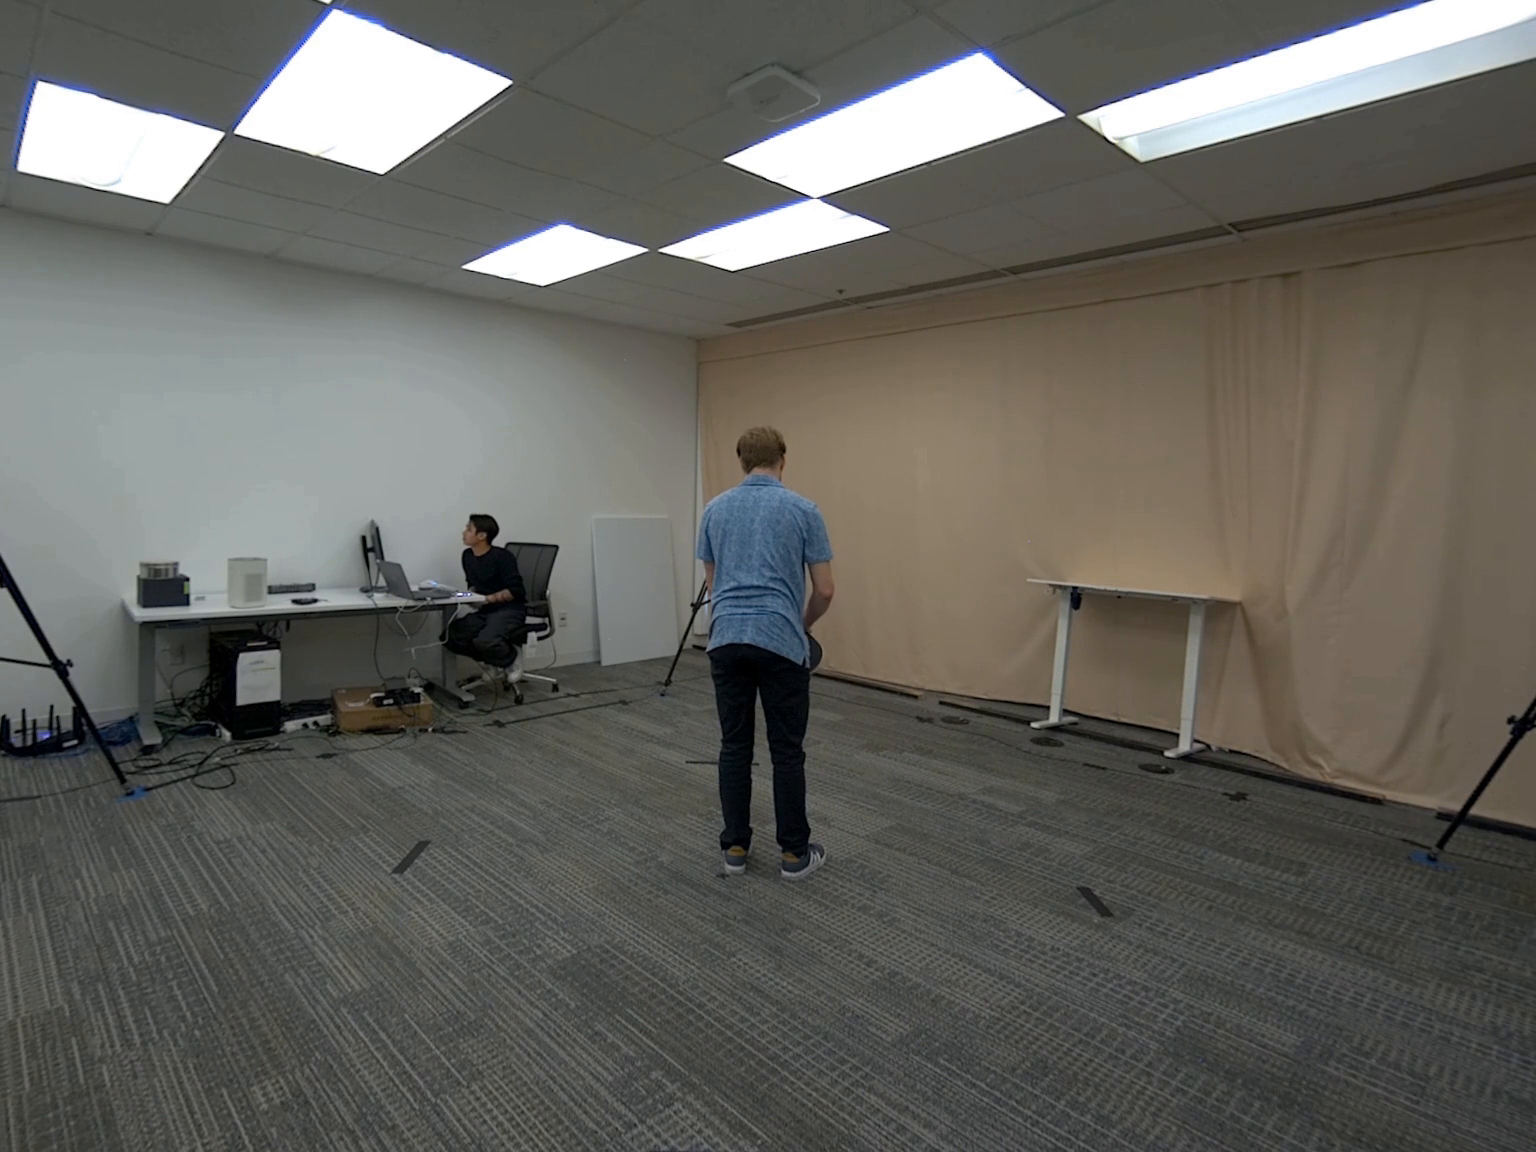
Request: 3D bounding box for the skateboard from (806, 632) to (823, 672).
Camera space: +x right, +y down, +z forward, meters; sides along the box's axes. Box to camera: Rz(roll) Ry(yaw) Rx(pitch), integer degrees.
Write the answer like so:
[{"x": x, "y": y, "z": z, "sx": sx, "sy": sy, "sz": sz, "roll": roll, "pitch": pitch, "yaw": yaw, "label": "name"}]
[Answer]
[{"x": 0.002, "y": 0.219, "z": 3.532, "sx": 0.107, "sy": 0.193, "sz": 0.810, "roll": 50, "pitch": -3, "yaw": -39, "label": "skateboard"}]
